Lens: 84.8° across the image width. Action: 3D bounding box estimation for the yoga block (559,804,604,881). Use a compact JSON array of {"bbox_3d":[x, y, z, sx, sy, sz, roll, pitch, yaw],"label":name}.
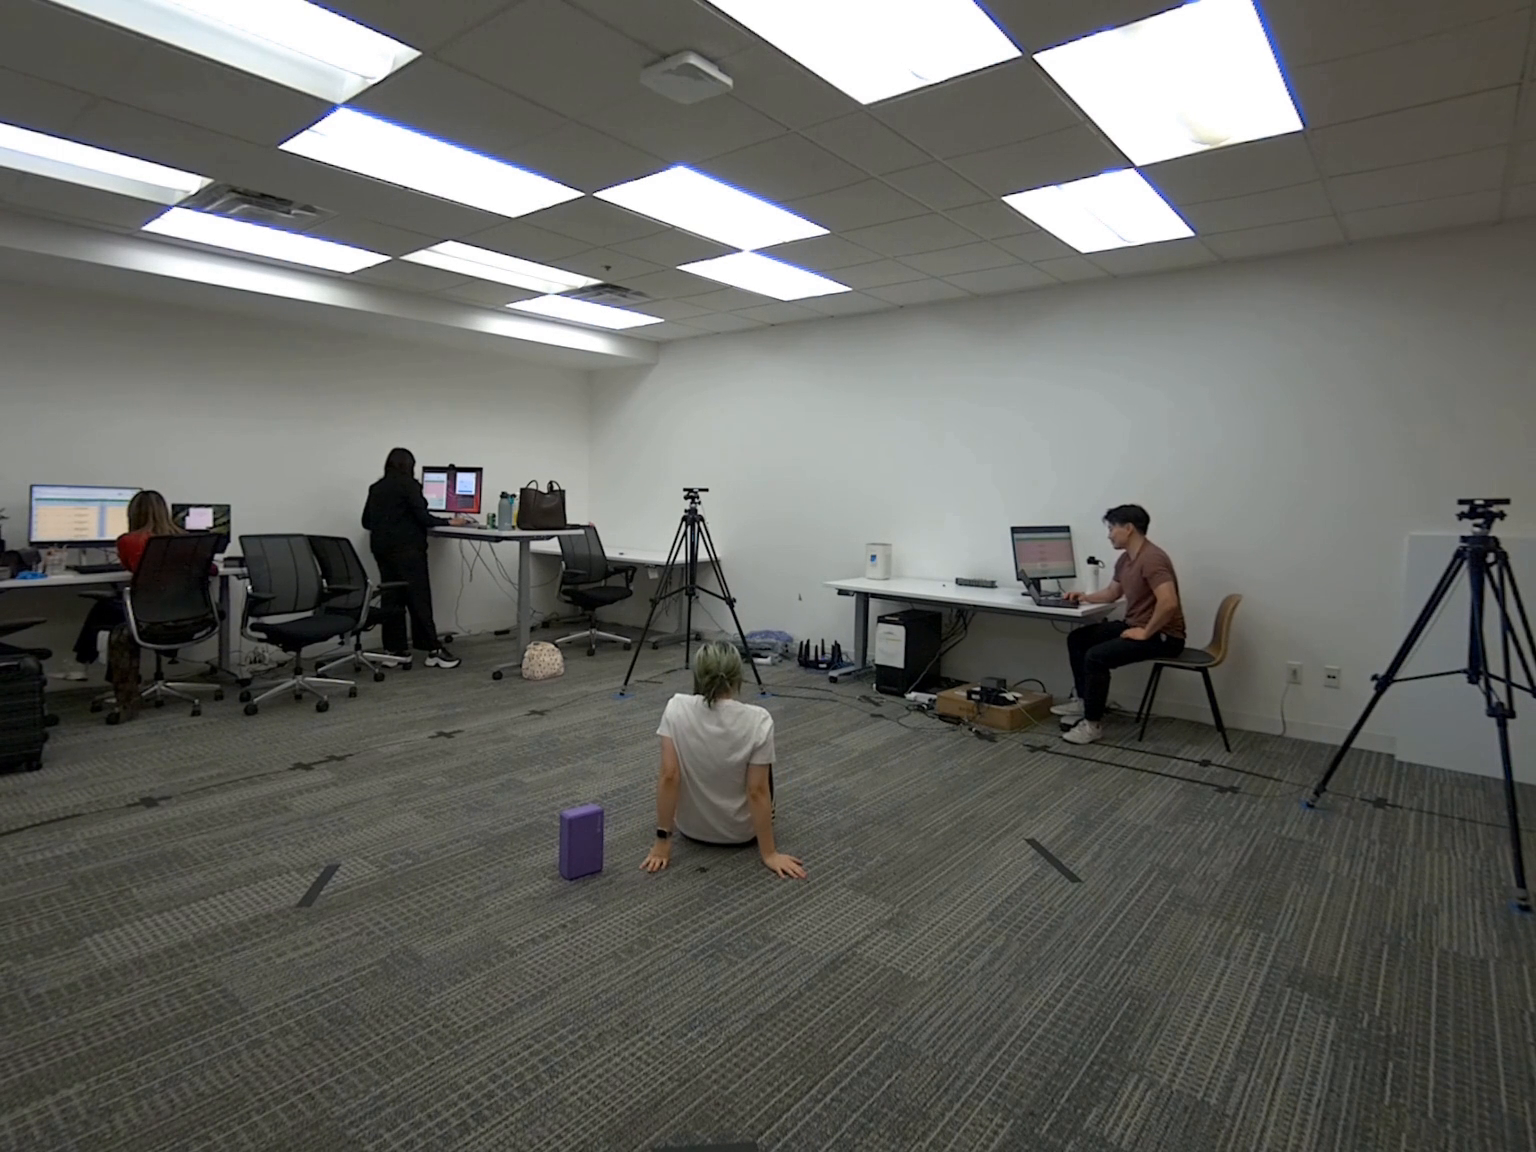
[{"bbox_3d":[-0.680,0.949,3.052,0.144,0.228,0.079,-3,6,-42],"label":"yoga block"}]
